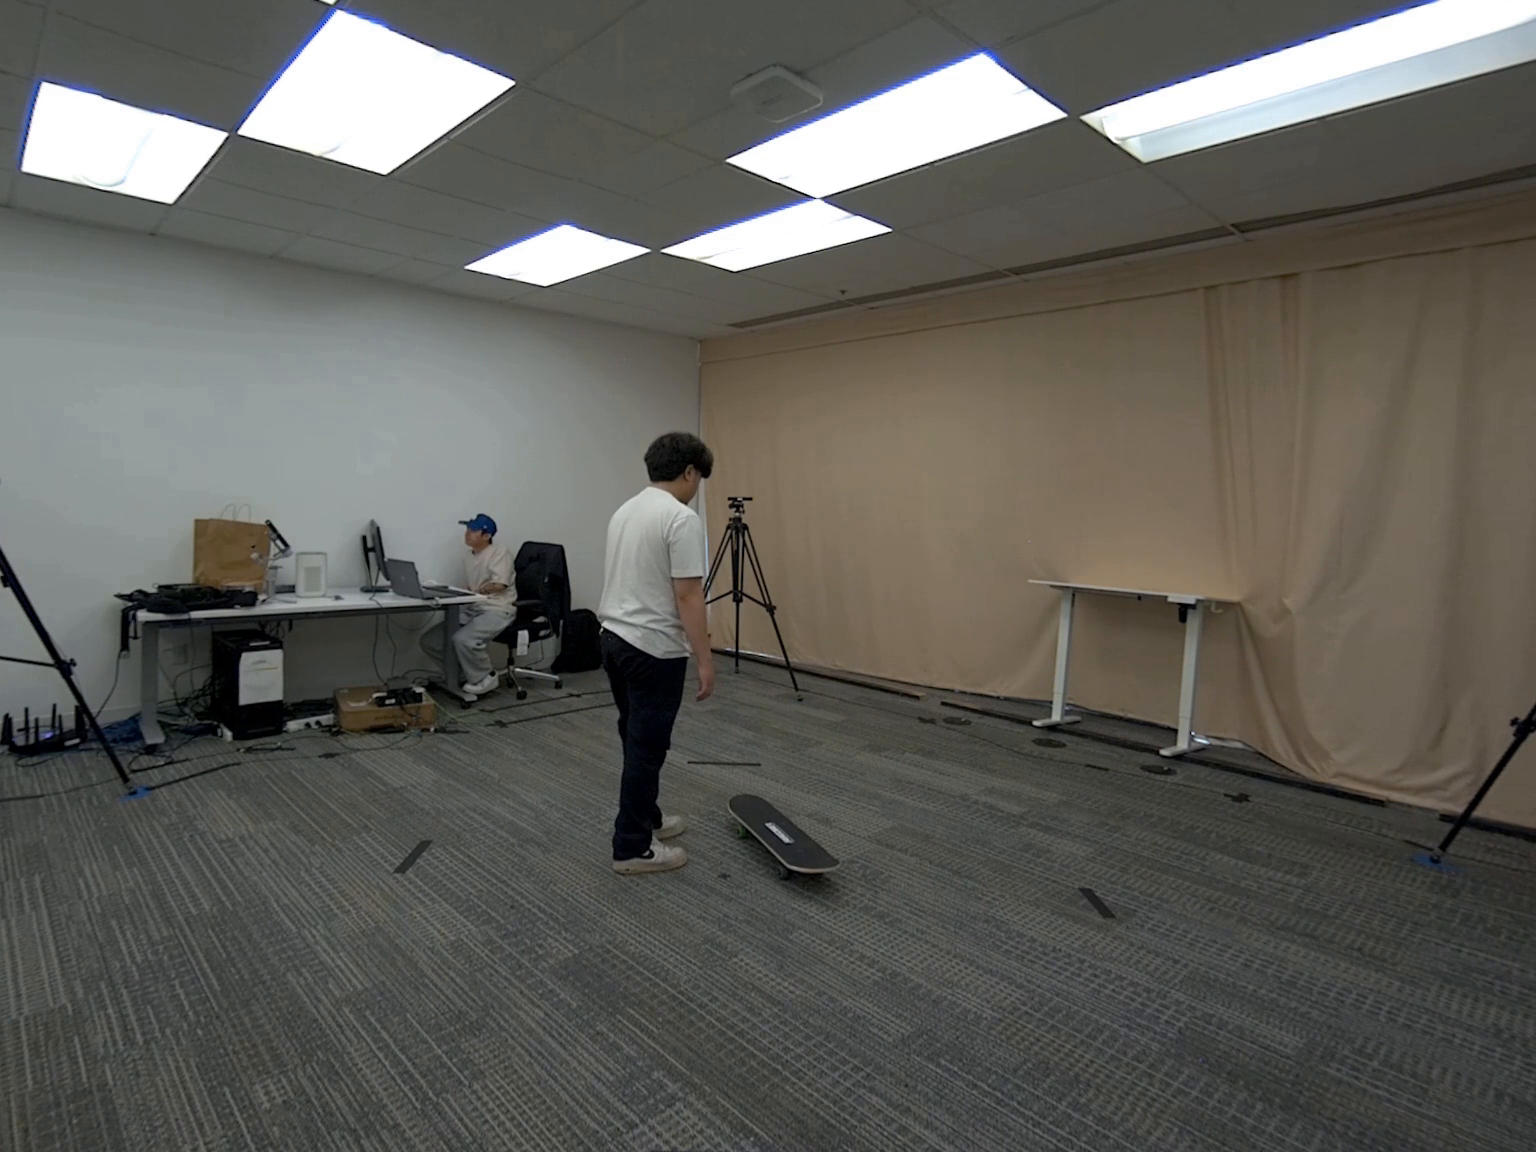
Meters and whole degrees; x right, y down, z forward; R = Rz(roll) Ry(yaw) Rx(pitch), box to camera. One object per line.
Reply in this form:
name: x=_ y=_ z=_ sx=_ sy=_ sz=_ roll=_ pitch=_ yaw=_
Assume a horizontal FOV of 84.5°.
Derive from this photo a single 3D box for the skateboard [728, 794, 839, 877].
skateboard: x=0.032 y=1.037 z=3.305 sx=0.190 sy=0.110 sz=0.800 roll=0 pitch=5 yaw=-23
